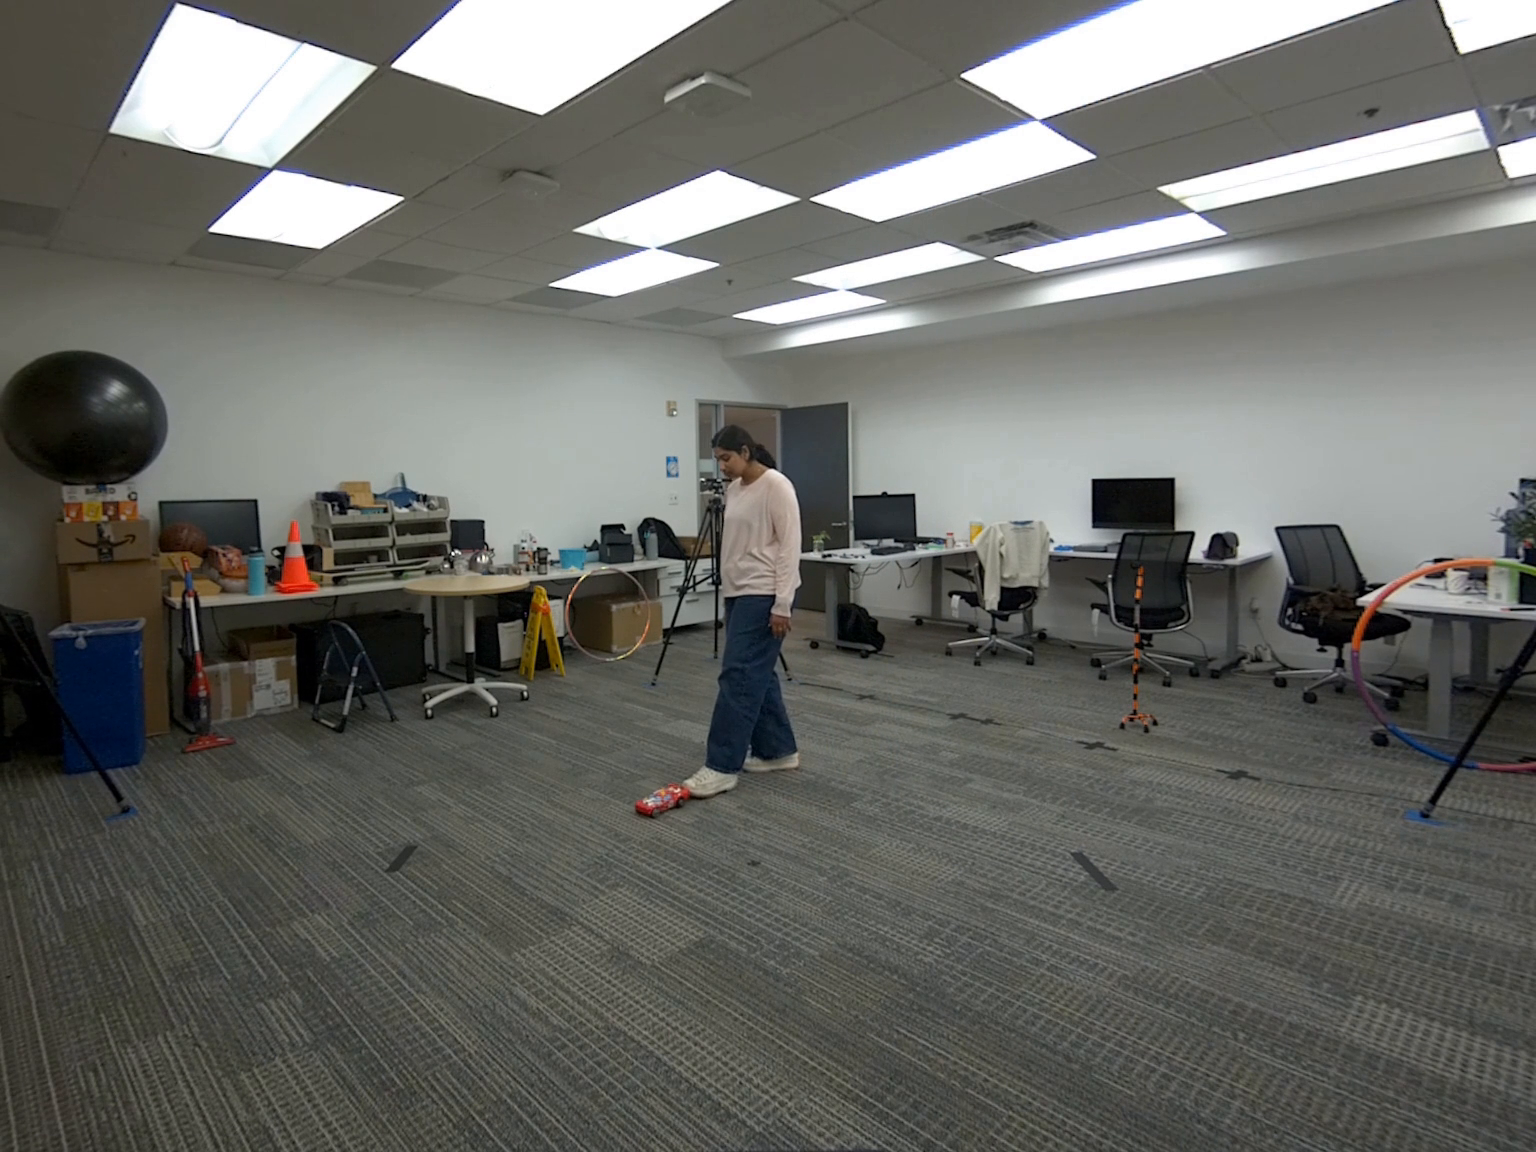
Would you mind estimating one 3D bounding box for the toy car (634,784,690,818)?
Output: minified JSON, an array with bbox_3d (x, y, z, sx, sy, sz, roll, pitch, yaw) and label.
[{"bbox_3d":[-0.445,0.958,3.650,0.134,0.082,0.250,3,18,41],"label":"toy car"}]
